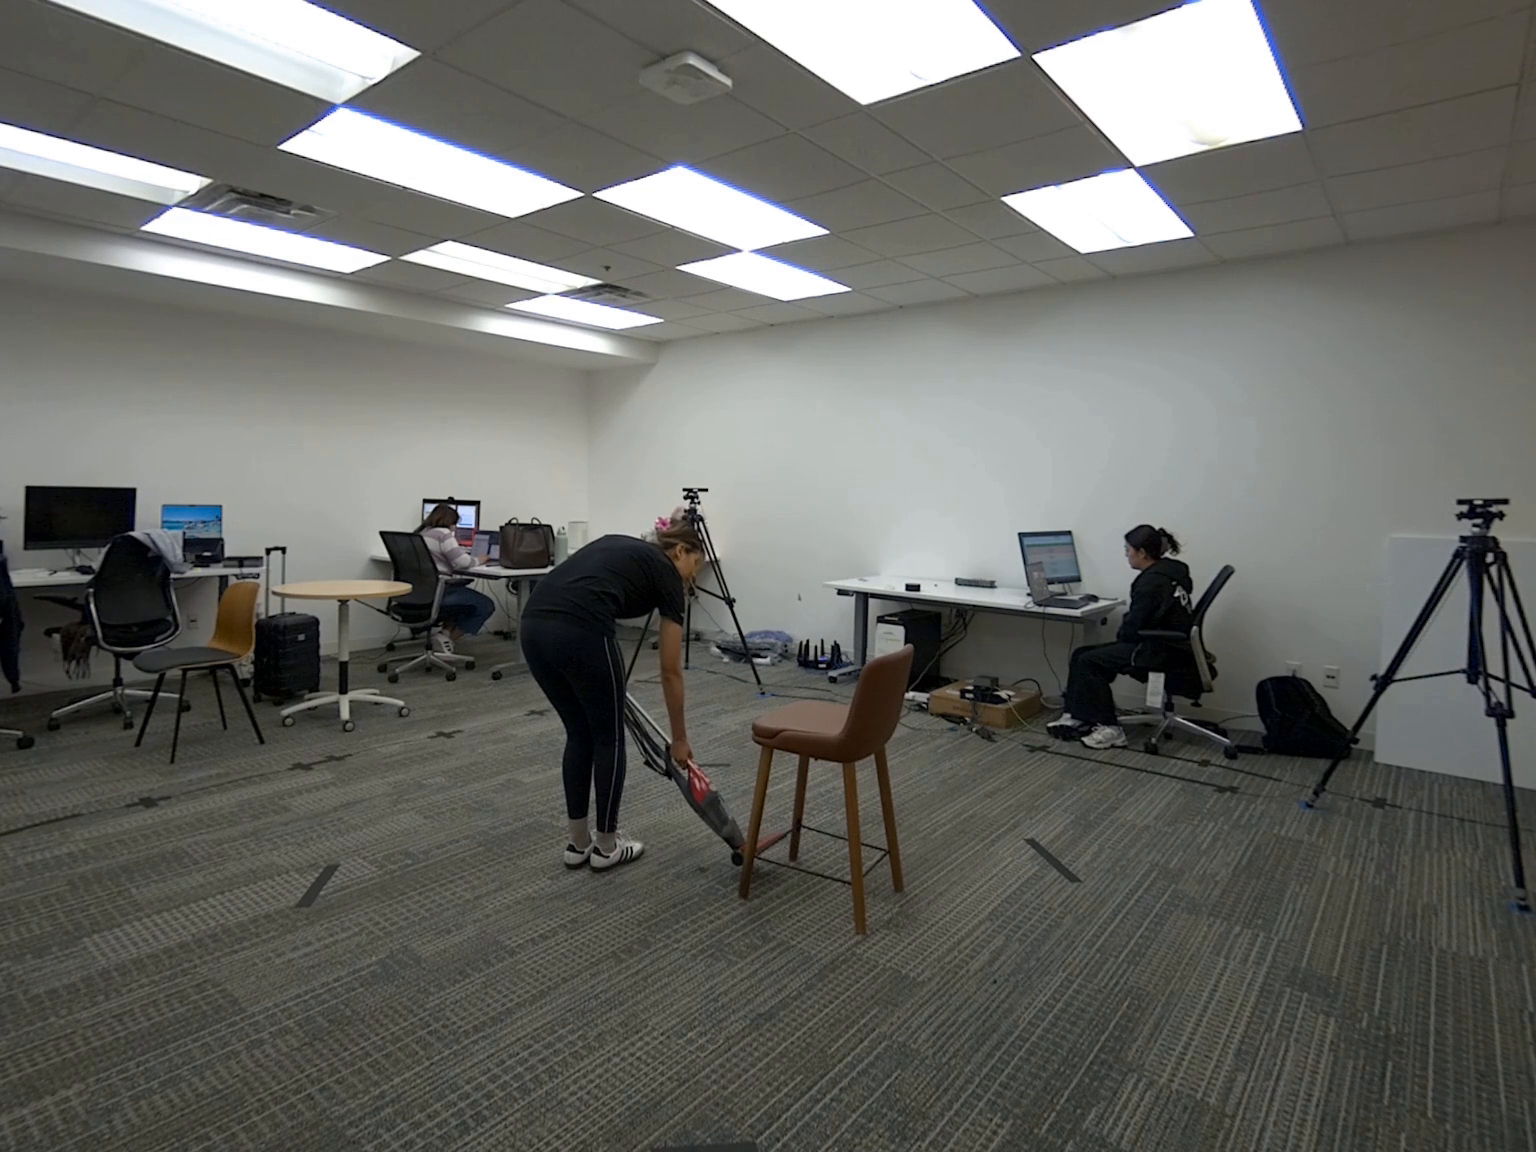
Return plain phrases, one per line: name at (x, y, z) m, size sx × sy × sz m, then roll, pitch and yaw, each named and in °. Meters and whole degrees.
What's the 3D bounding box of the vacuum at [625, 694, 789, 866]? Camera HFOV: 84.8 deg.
vacuum at (-0.403, 0.685, 3.316) m, size 1.087 × 0.143 × 0.245 m, roll 41°, pitch 23°, yaw 27°
